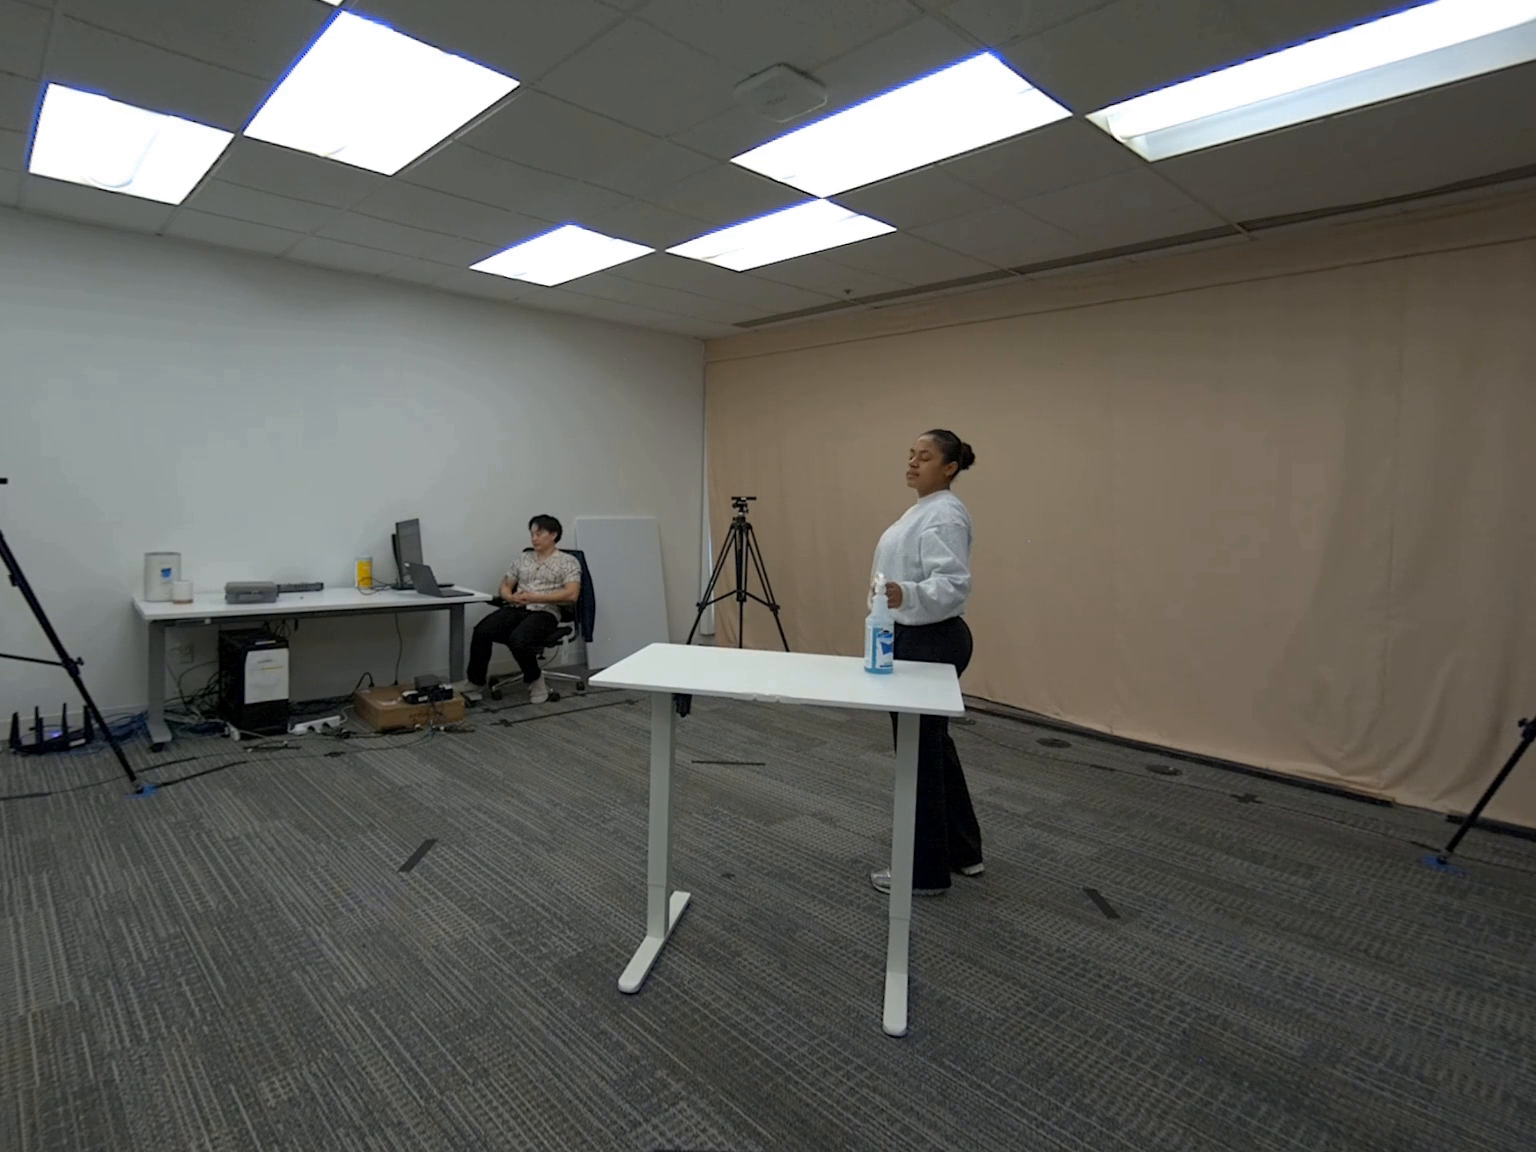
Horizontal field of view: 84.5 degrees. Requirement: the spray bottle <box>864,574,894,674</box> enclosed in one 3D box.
[{"bbox_3d":[0.337,0.144,2.528,0.089,0.297,0.088,1,3,26],"label":"spray bottle"}]
